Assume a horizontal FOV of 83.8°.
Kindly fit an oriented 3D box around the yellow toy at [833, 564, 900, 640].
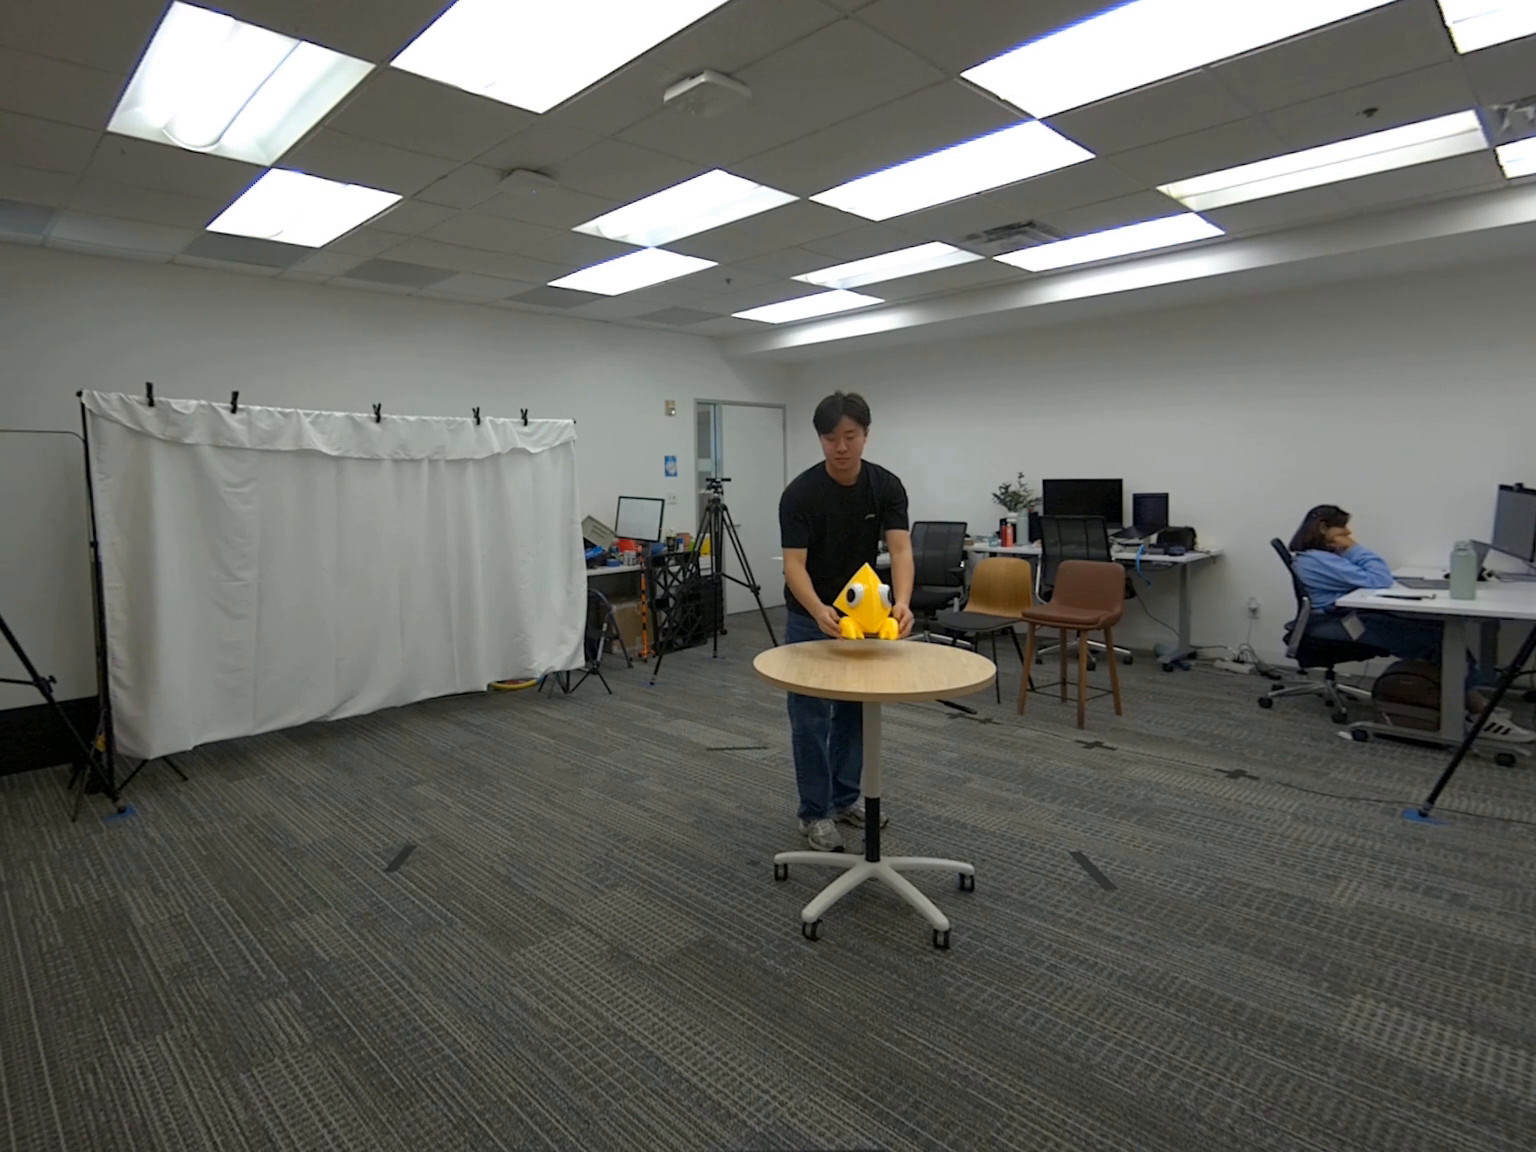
[{"bbox_3d":[0.338,0.077,2.844,0.204,0.229,0.195,0,8,-5],"label":"yellow toy"}]
